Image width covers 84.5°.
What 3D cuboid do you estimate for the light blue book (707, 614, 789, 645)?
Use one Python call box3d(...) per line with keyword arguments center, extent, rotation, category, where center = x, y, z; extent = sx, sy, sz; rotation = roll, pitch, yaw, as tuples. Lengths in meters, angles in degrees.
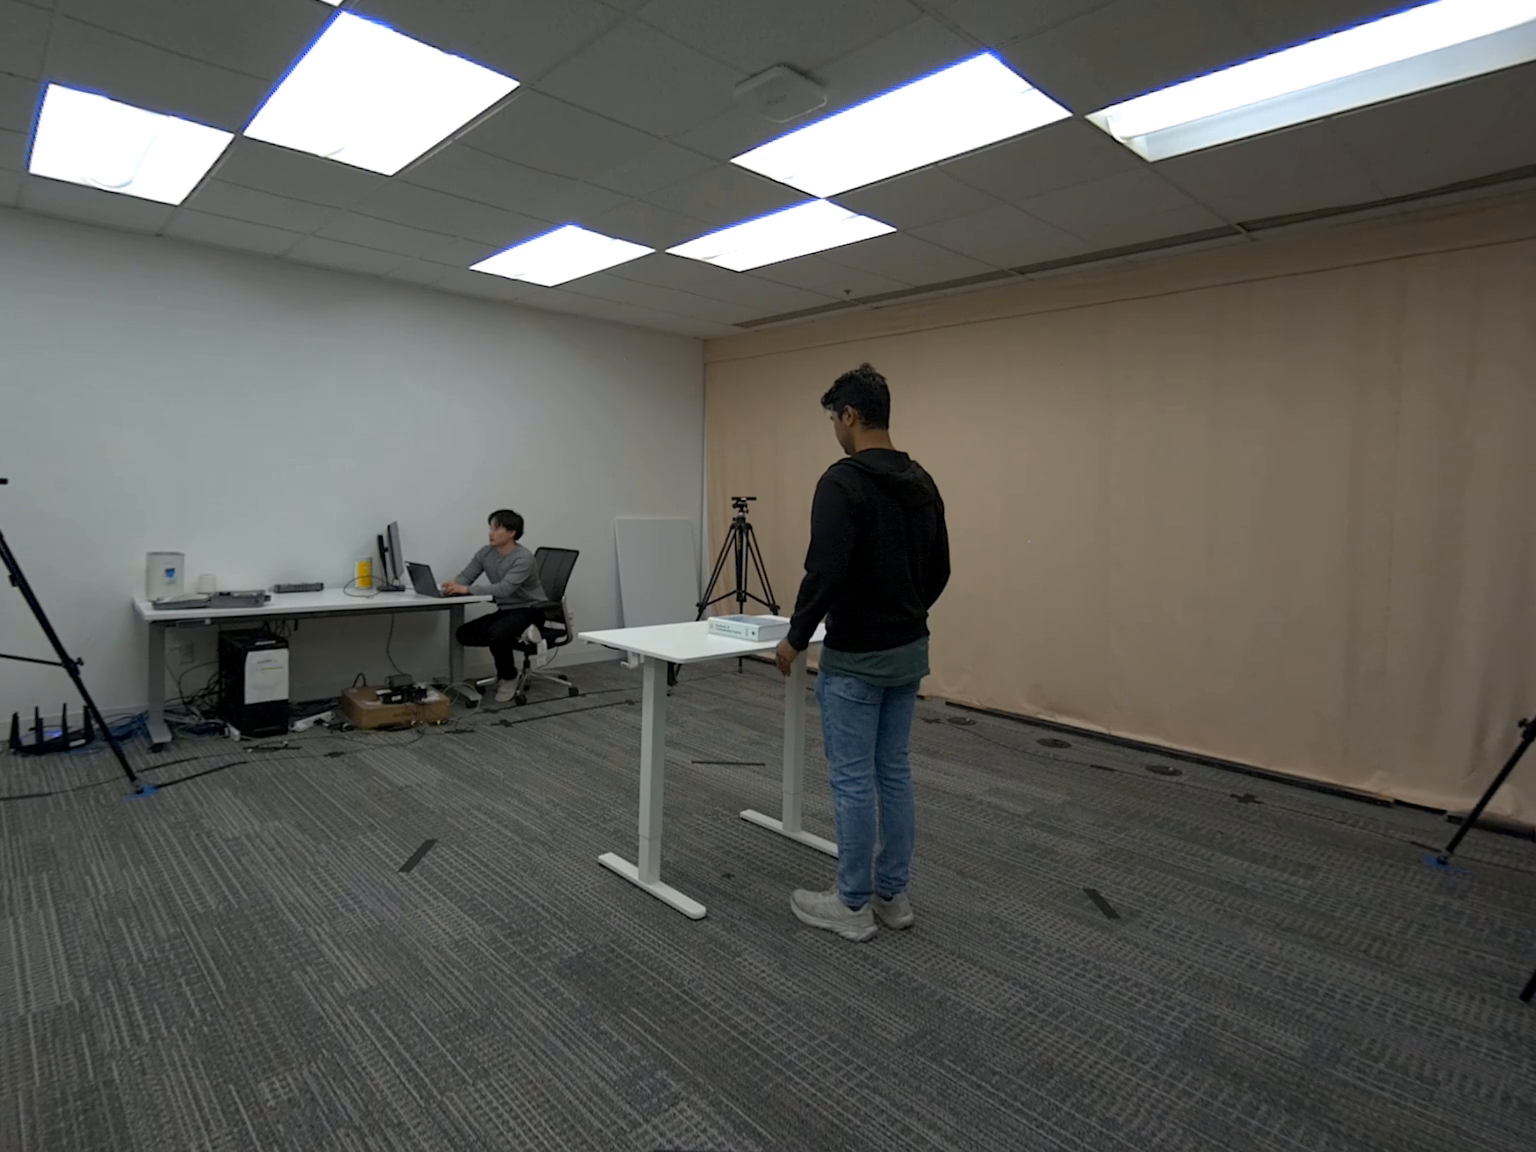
box3d(center=(-0.070, 0.194, 3.153), extent=(0.268, 0.059, 0.187), rotation=(6, 8, 43), category="light blue book")
